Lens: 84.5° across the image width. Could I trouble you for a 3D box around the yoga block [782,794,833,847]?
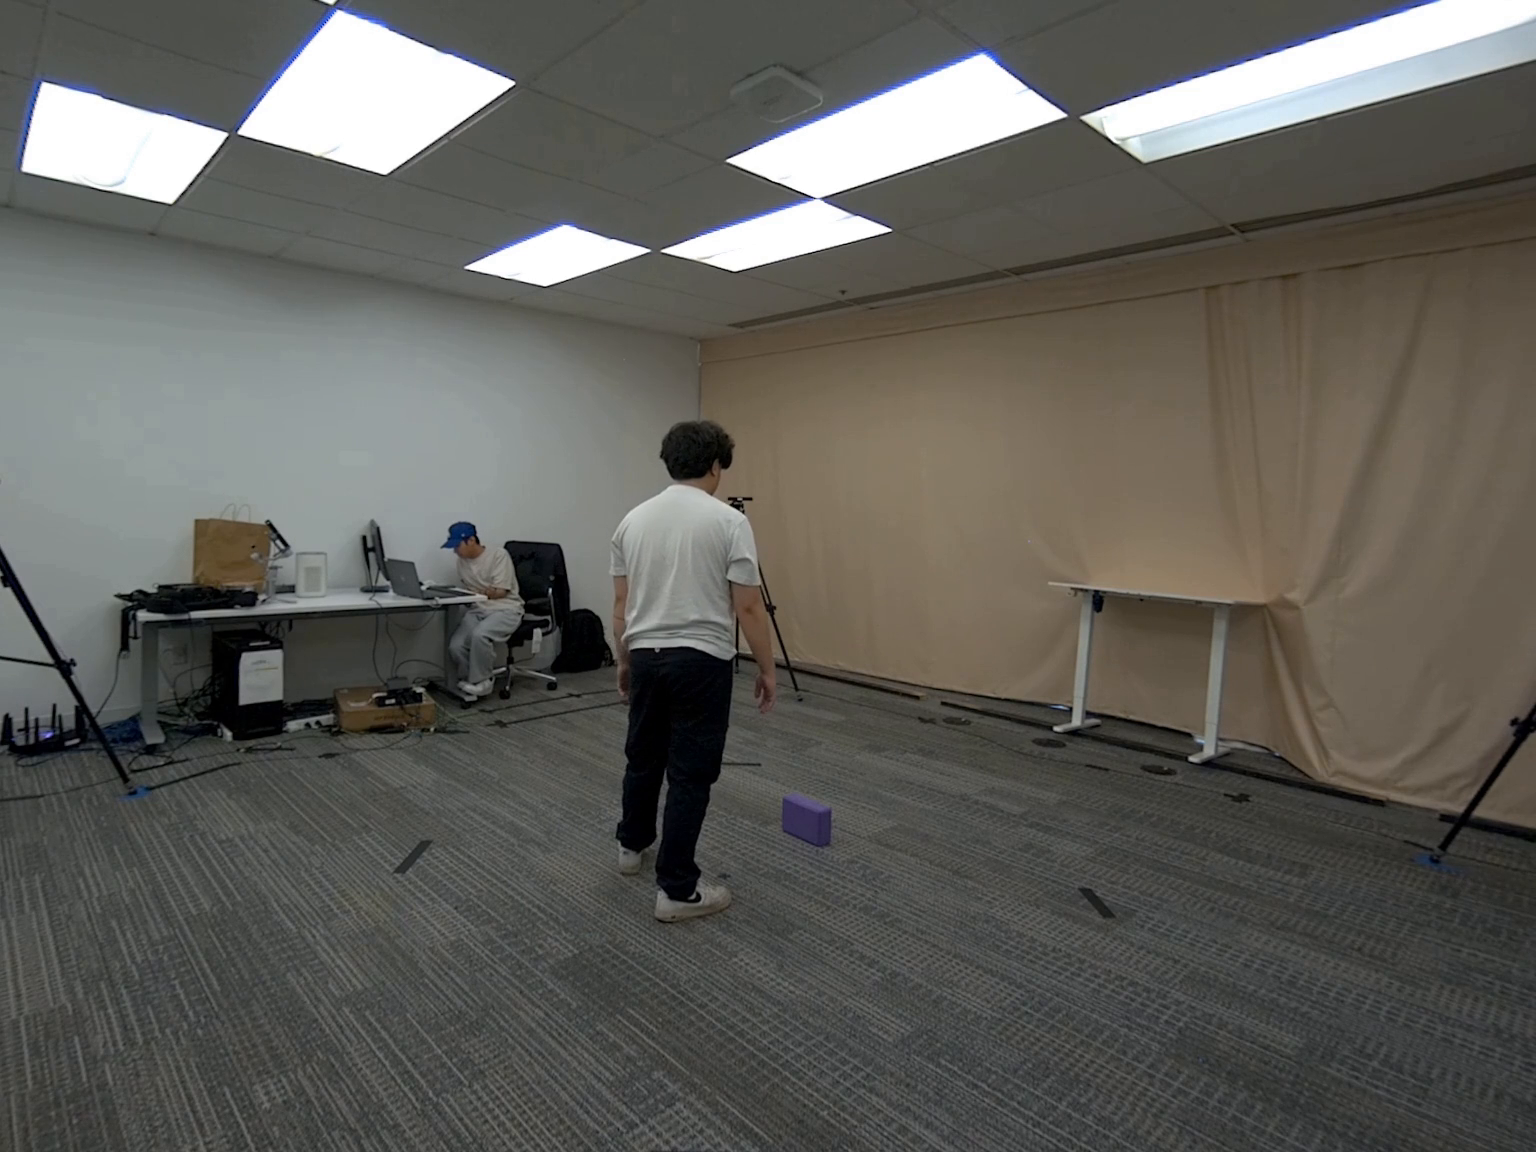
[{"bbox_3d":[0.150,1.007,3.488,0.075,0.149,0.235,0,4,-40],"label":"yoga block"}]
